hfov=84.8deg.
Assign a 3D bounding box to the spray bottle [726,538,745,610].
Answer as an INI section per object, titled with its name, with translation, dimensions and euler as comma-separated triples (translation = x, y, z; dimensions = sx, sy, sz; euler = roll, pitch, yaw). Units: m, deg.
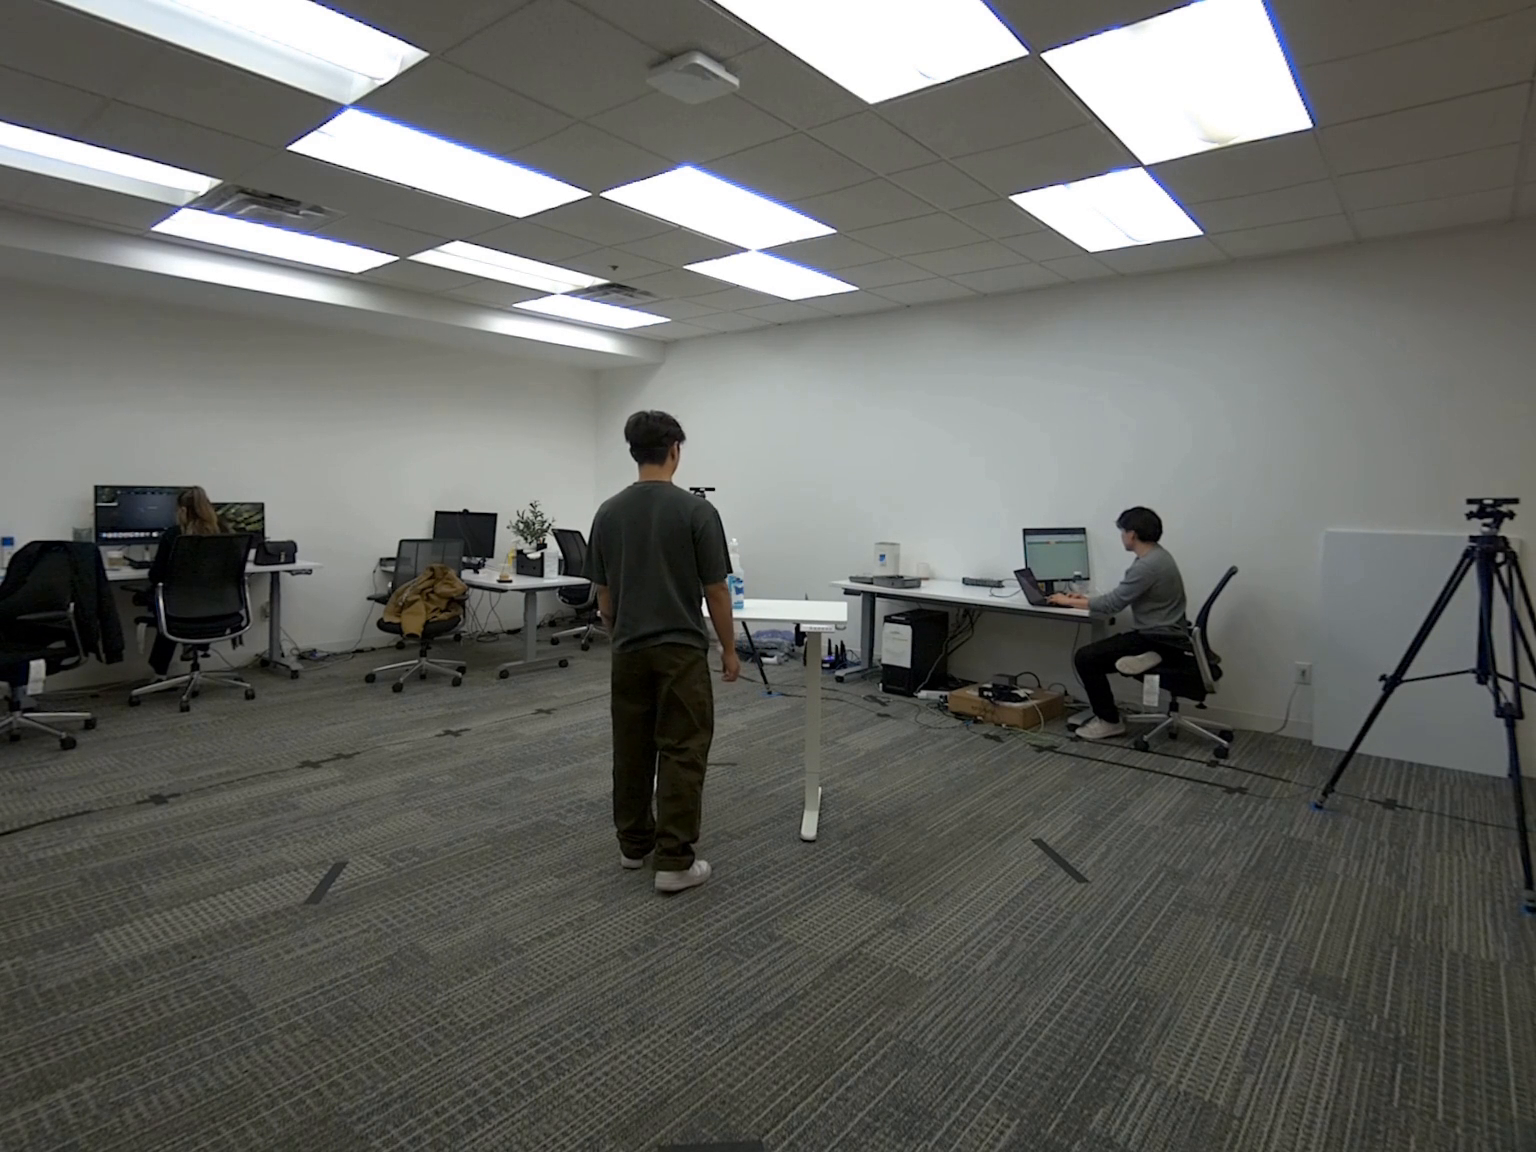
[spray bottle]
translation = -0.155, -0.012, 3.642
dimensions = 0.089, 0.297, 0.088
euler = -2, 1, 22
